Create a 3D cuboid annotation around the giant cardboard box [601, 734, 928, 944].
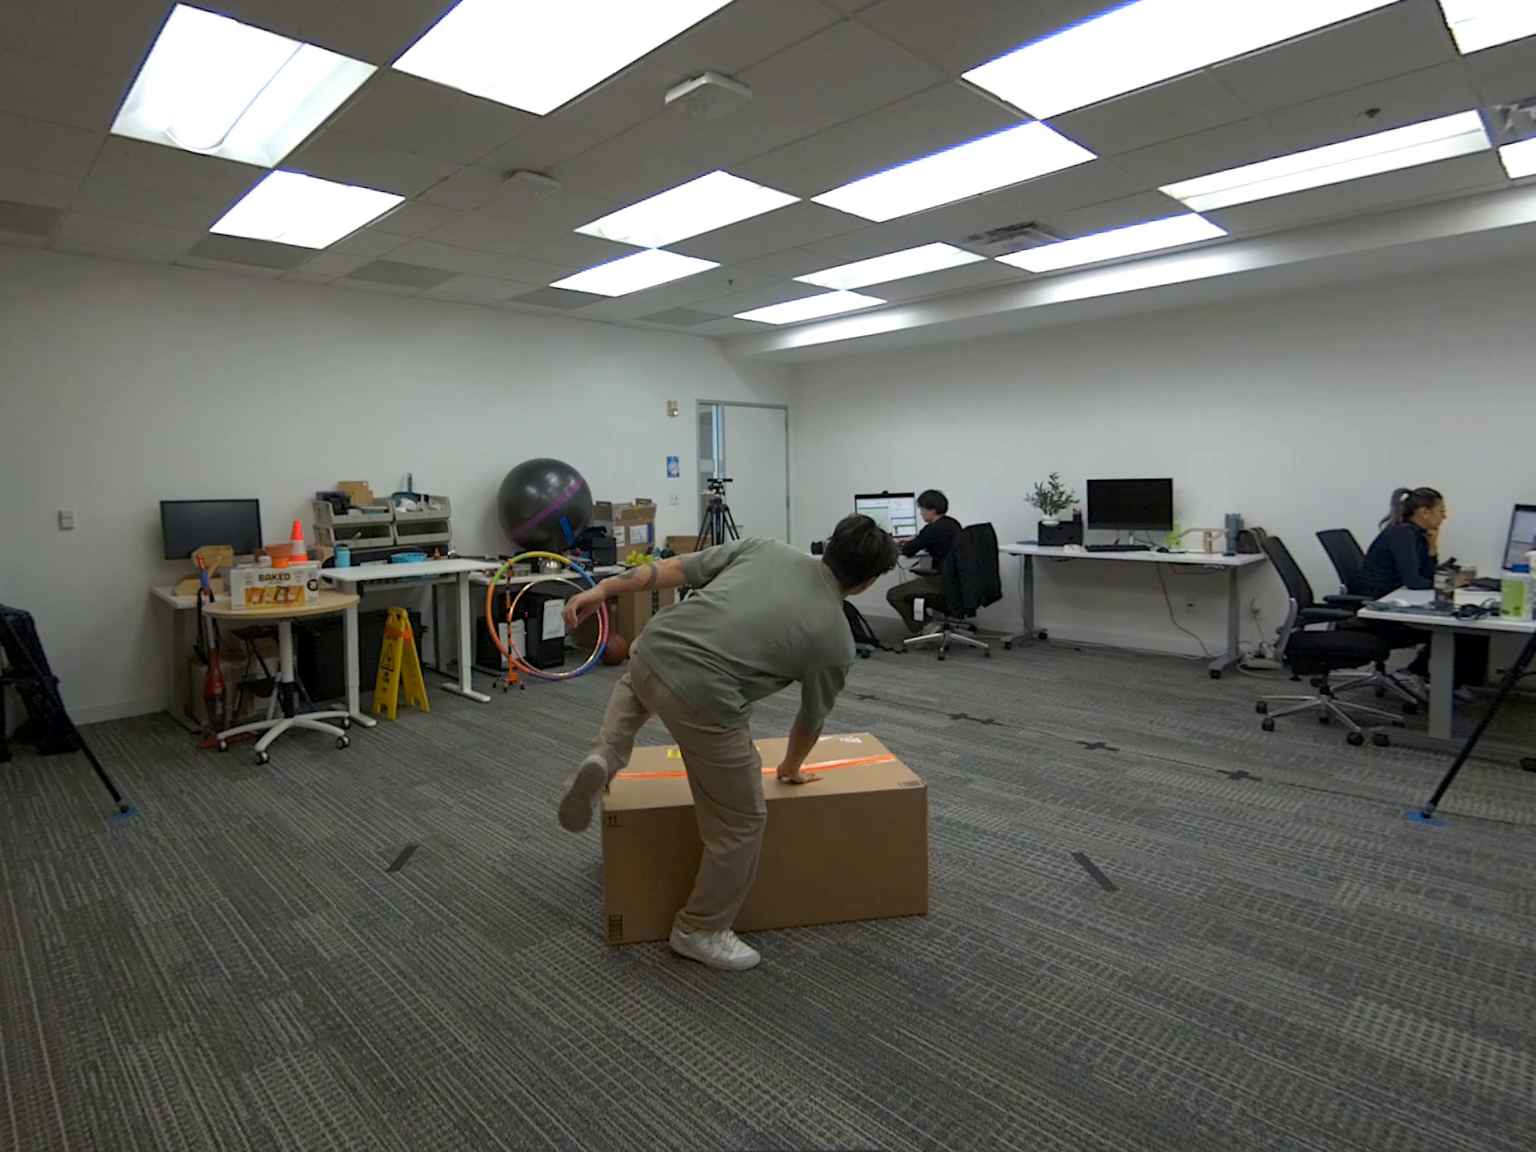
[{"bbox_3d":[-0.049,0.853,2.914,1.017,0.424,0.585,-2,6,-9],"label":"giant cardboard box"}]
